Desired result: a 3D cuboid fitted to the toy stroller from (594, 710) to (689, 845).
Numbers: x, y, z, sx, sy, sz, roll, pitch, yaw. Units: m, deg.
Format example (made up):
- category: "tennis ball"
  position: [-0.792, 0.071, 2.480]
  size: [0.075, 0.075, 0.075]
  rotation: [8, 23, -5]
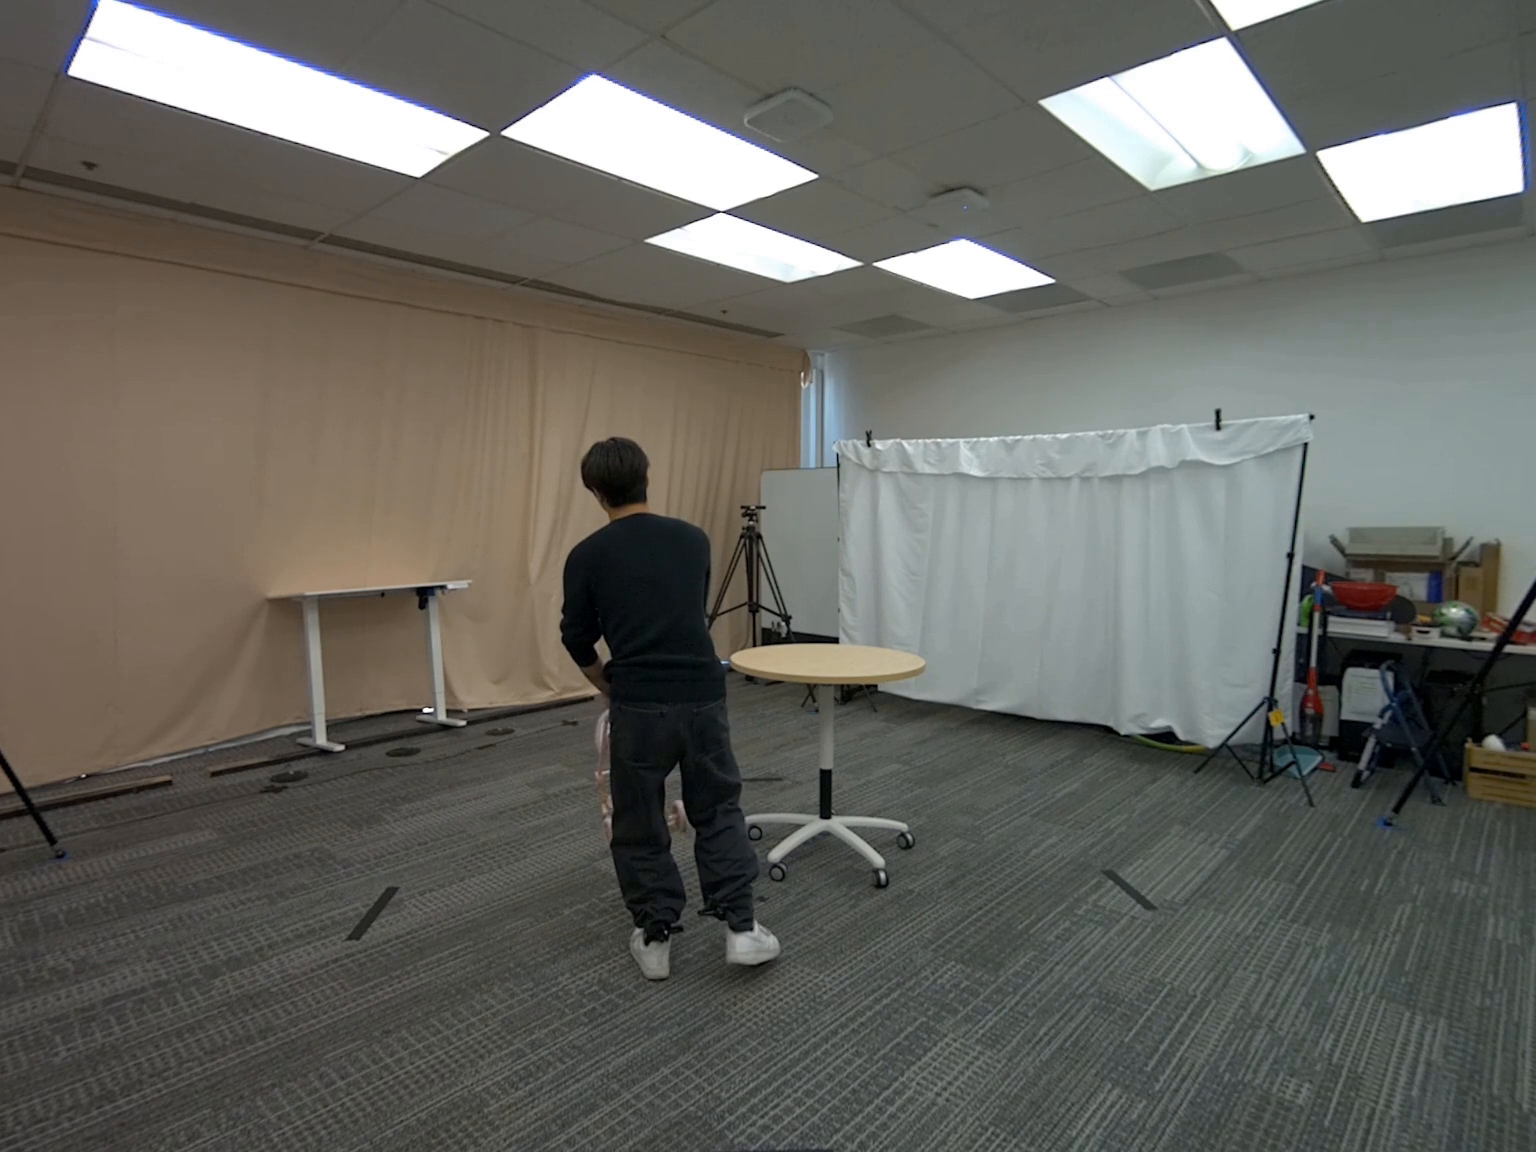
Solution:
- category: "toy stroller"
  position: [-0.472, 0.695, 2.937]
  size: [0.275, 0.536, 0.348]
  rotation: [-8, -2, -24]
